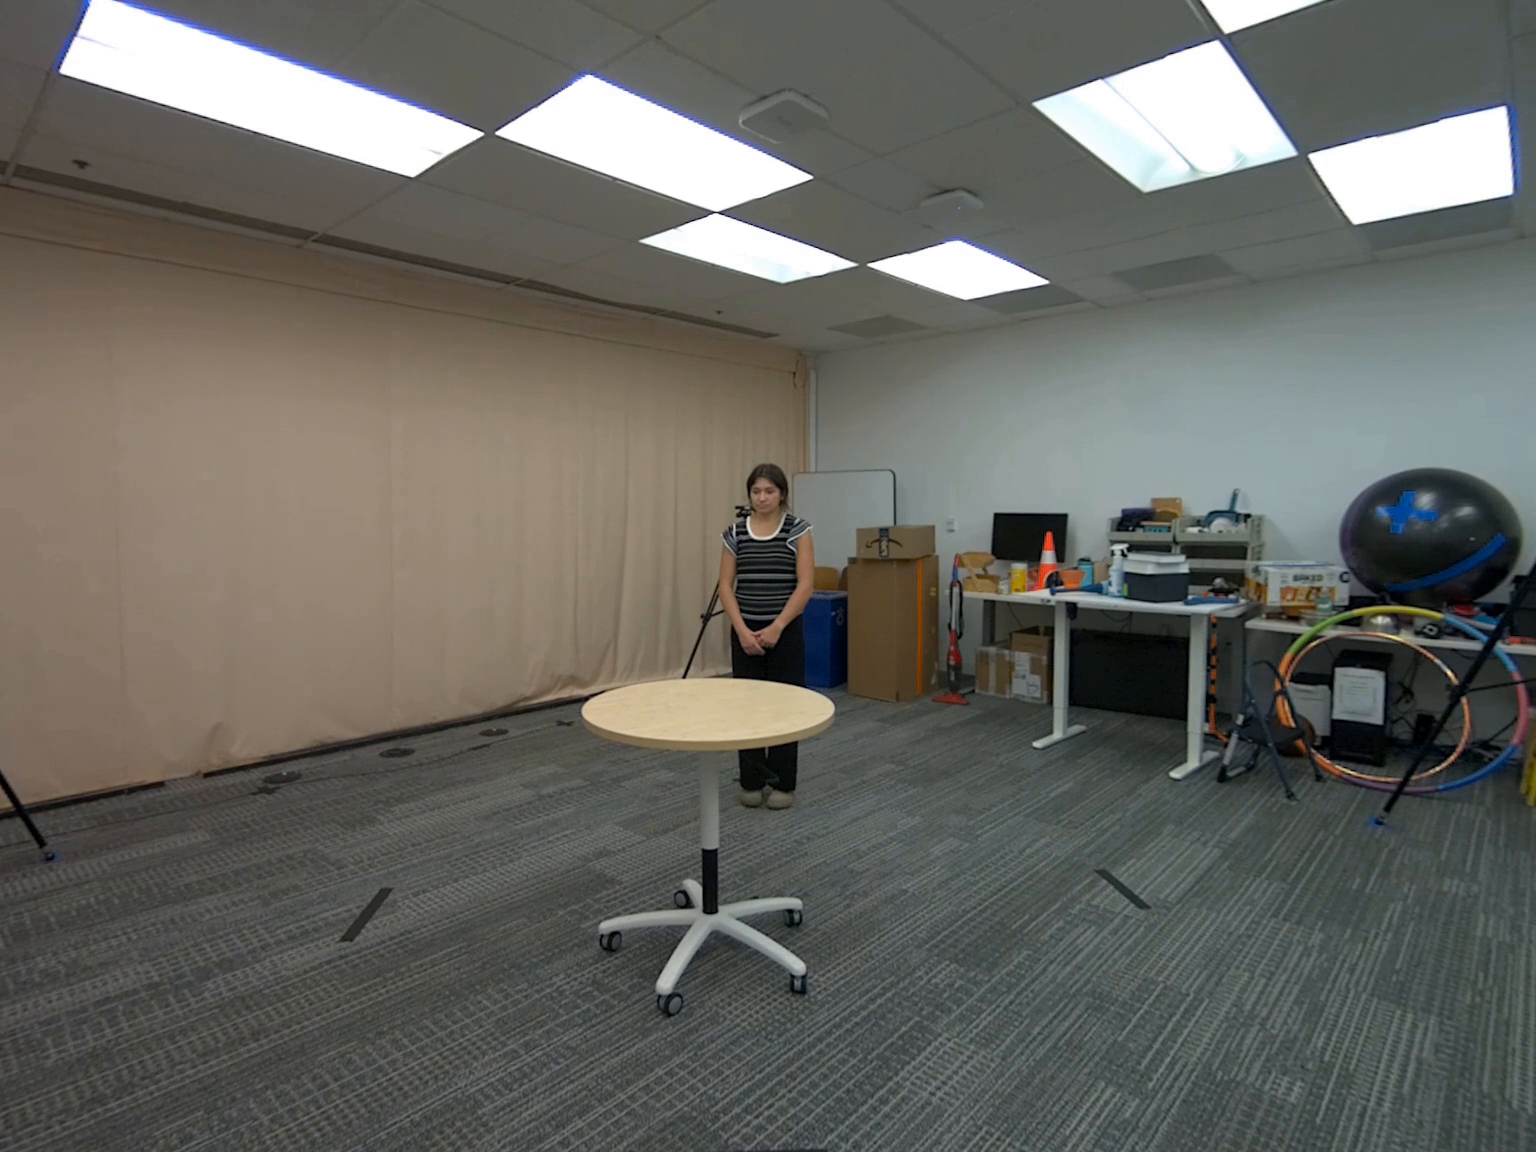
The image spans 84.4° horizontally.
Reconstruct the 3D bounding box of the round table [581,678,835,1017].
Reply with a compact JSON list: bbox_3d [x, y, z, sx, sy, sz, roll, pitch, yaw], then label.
[{"bbox_3d":[-0.180,0.785,2.598,0.763,0.792,0.767,-1,4,-2],"label":"round table"}]
